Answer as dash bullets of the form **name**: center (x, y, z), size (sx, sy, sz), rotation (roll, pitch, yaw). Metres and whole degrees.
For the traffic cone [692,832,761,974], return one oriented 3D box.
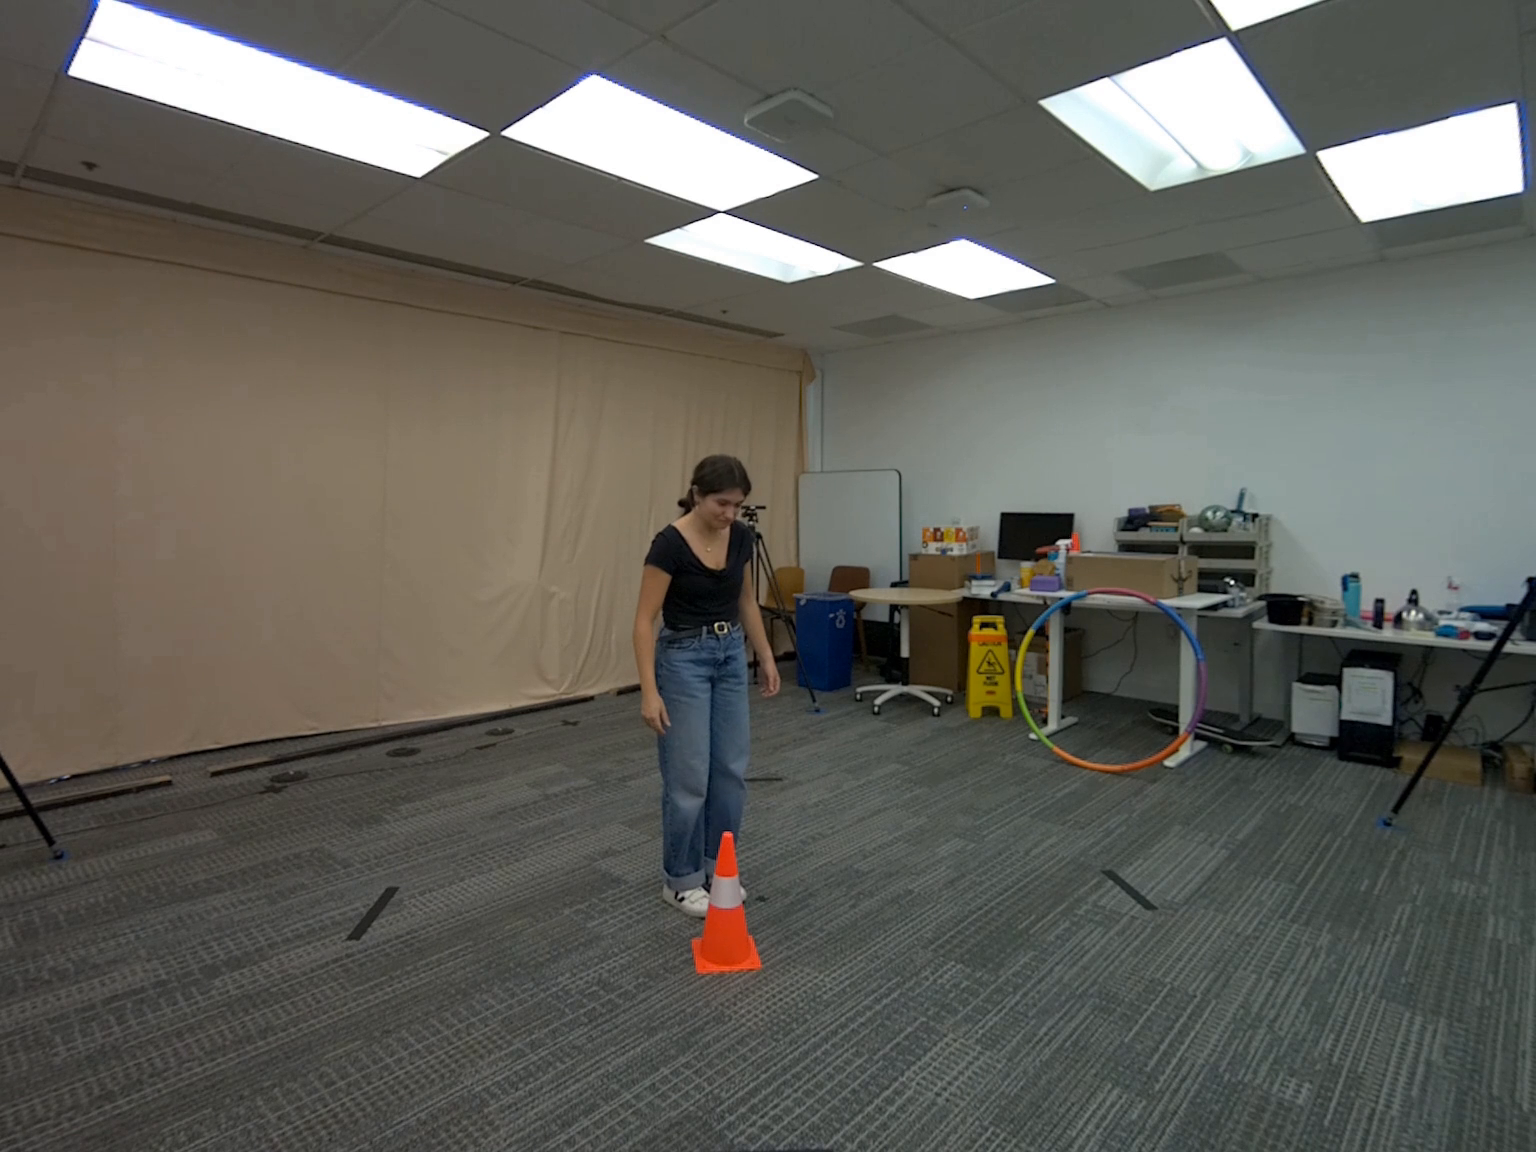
- **traffic cone**: center (-0.128, 0.988, 2.604), size (0.202, 0.383, 0.207), rotation (0, 3, -8)
